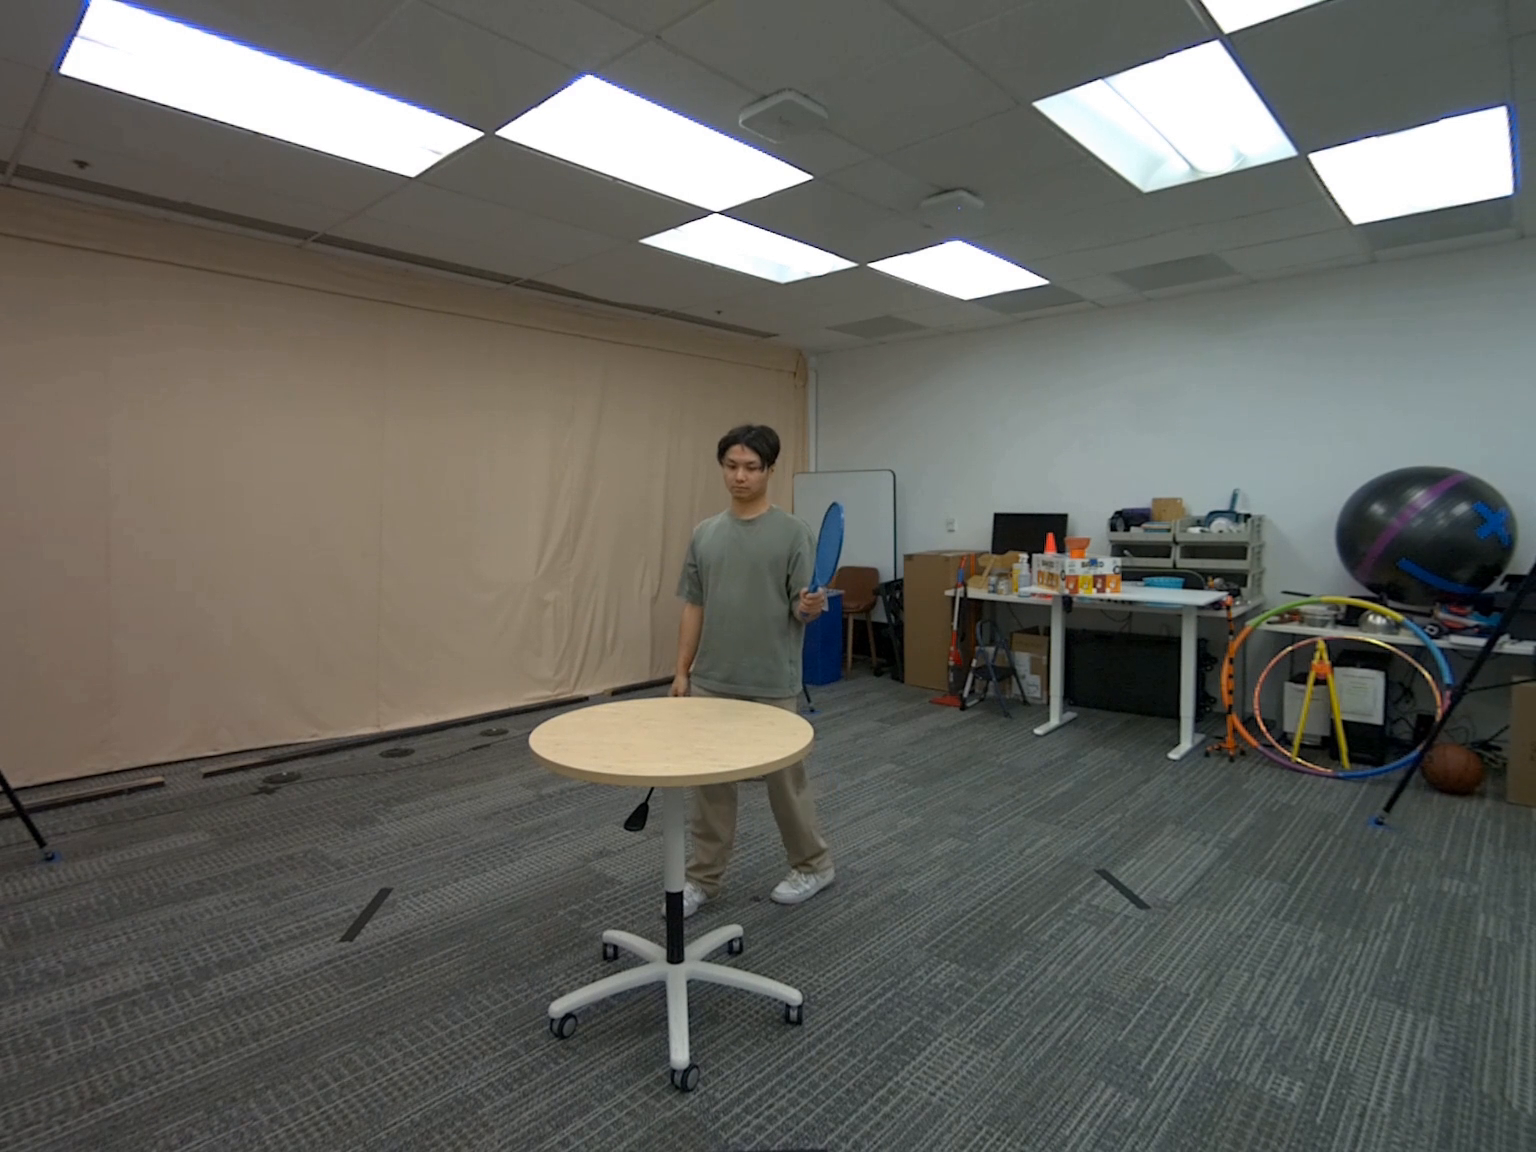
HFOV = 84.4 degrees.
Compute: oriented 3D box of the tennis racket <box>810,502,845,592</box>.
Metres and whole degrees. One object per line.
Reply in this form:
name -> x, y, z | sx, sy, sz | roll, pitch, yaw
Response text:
tennis racket -> 0.160, -0.034, 2.444 | 0.031, 0.428, 0.219 | 2, 44, -13
